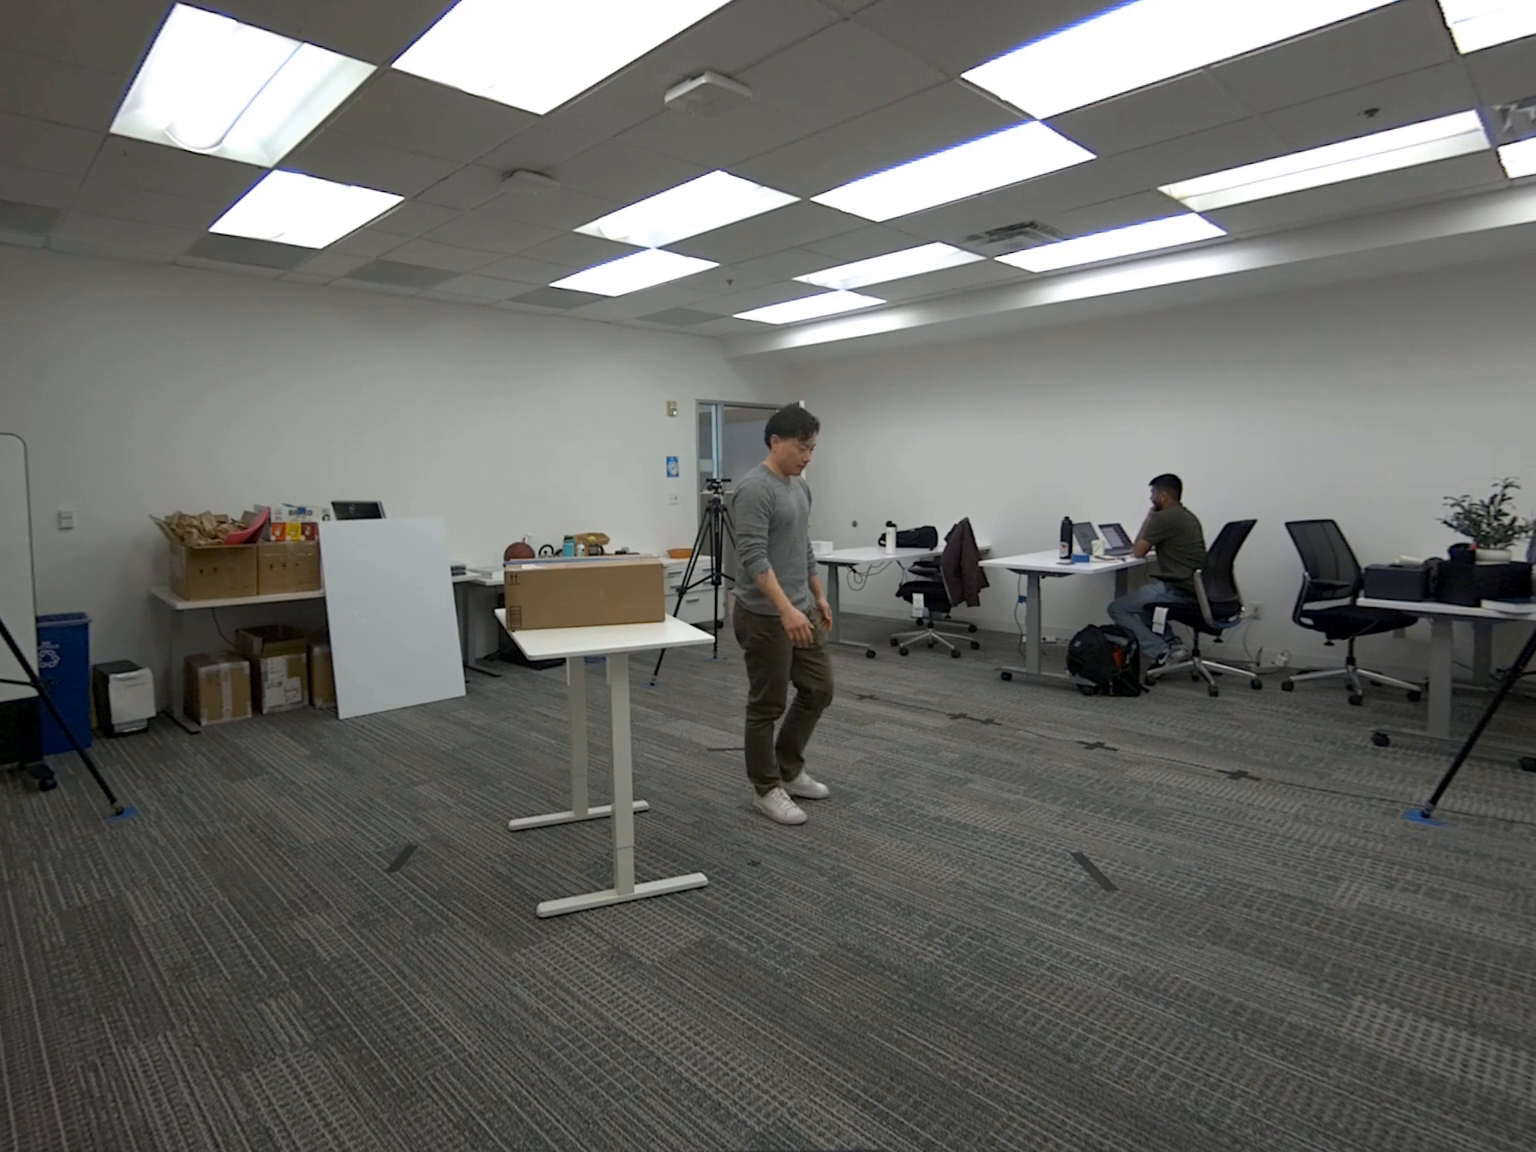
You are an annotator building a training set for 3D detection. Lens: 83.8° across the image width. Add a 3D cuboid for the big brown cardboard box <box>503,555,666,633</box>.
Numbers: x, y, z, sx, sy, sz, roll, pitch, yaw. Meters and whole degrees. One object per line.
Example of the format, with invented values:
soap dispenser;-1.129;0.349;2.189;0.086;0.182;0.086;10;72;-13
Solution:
big brown cardboard box;-0.697;0.051;3.236;0.582;0.232;0.424;-2;6;-13
